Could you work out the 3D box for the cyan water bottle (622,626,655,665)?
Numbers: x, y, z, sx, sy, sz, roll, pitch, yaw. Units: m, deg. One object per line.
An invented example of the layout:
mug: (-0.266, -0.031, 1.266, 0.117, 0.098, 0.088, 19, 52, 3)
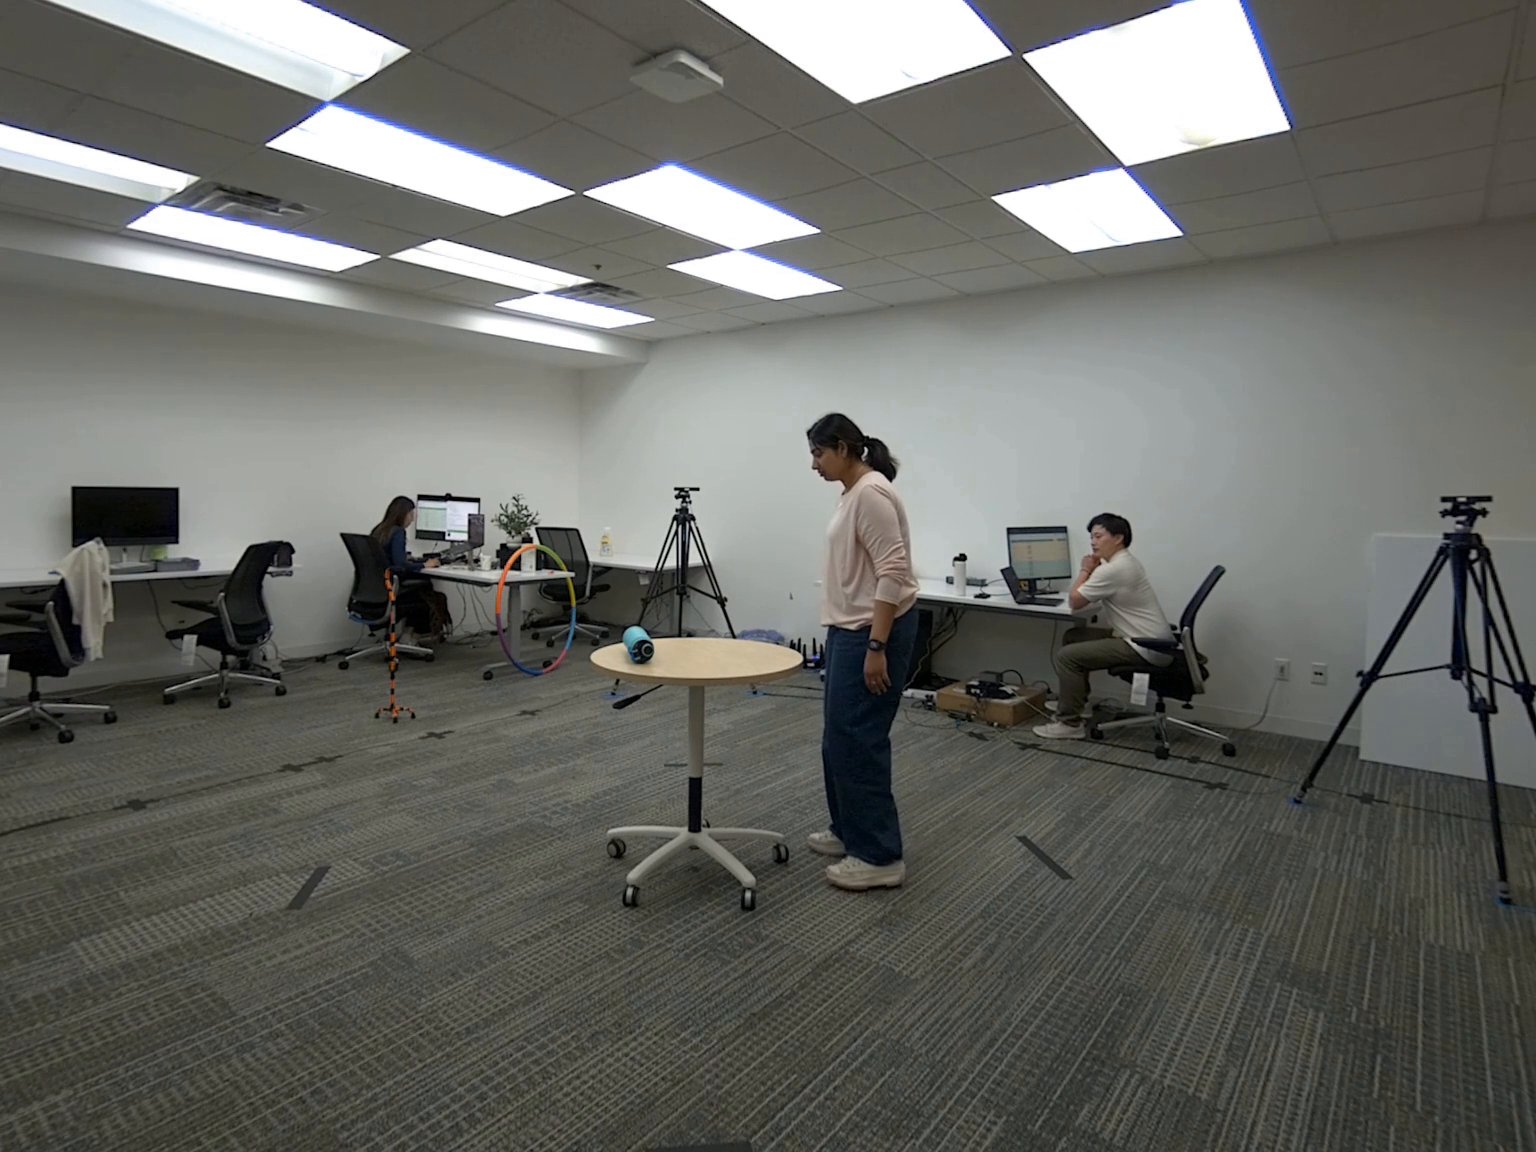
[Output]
cyan water bottle: (-0.468, 0.244, 3.033, 0.091, 0.092, 0.288, 0, 5, -13)
